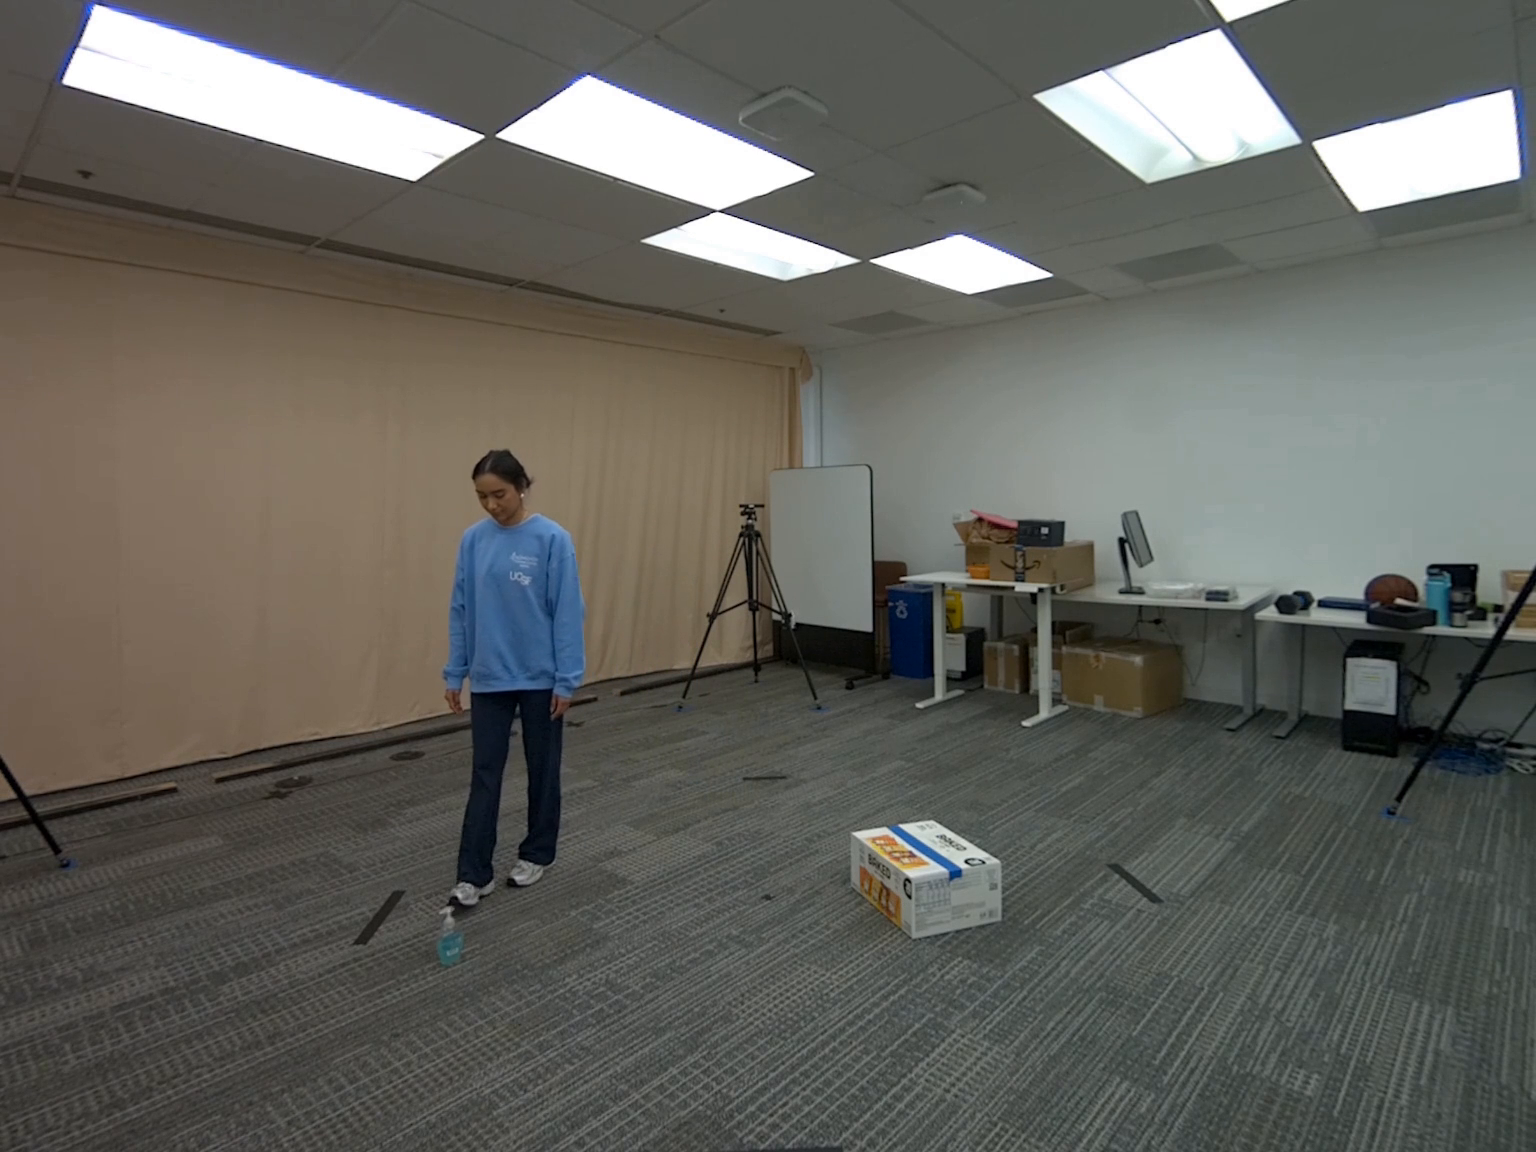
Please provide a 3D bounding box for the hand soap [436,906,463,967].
[{"bbox_3d":[-0.985,1.106,2.608,0.045,0.168,0.082,0,4,40],"label":"hand soap"}]
